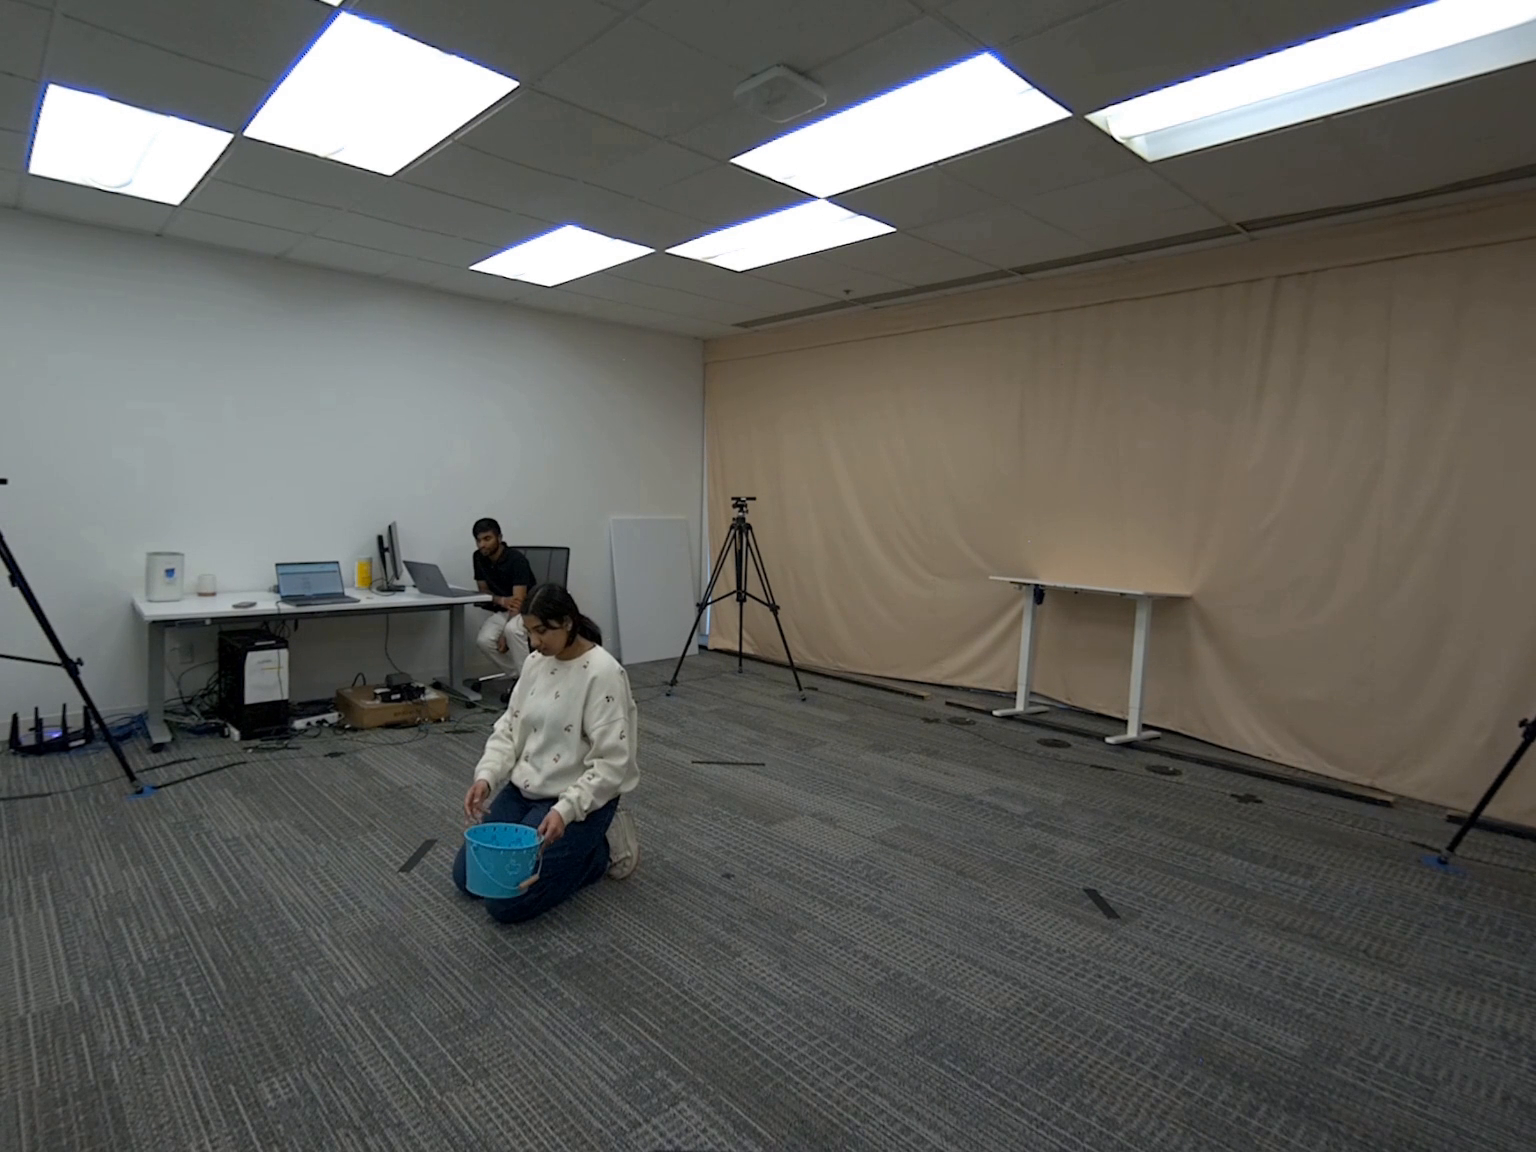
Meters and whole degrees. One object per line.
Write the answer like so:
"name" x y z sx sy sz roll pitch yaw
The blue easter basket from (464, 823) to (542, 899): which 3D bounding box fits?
"blue easter basket" -0.819 0.860 2.507 0.243 0.156 0.243 6 -2 -1
